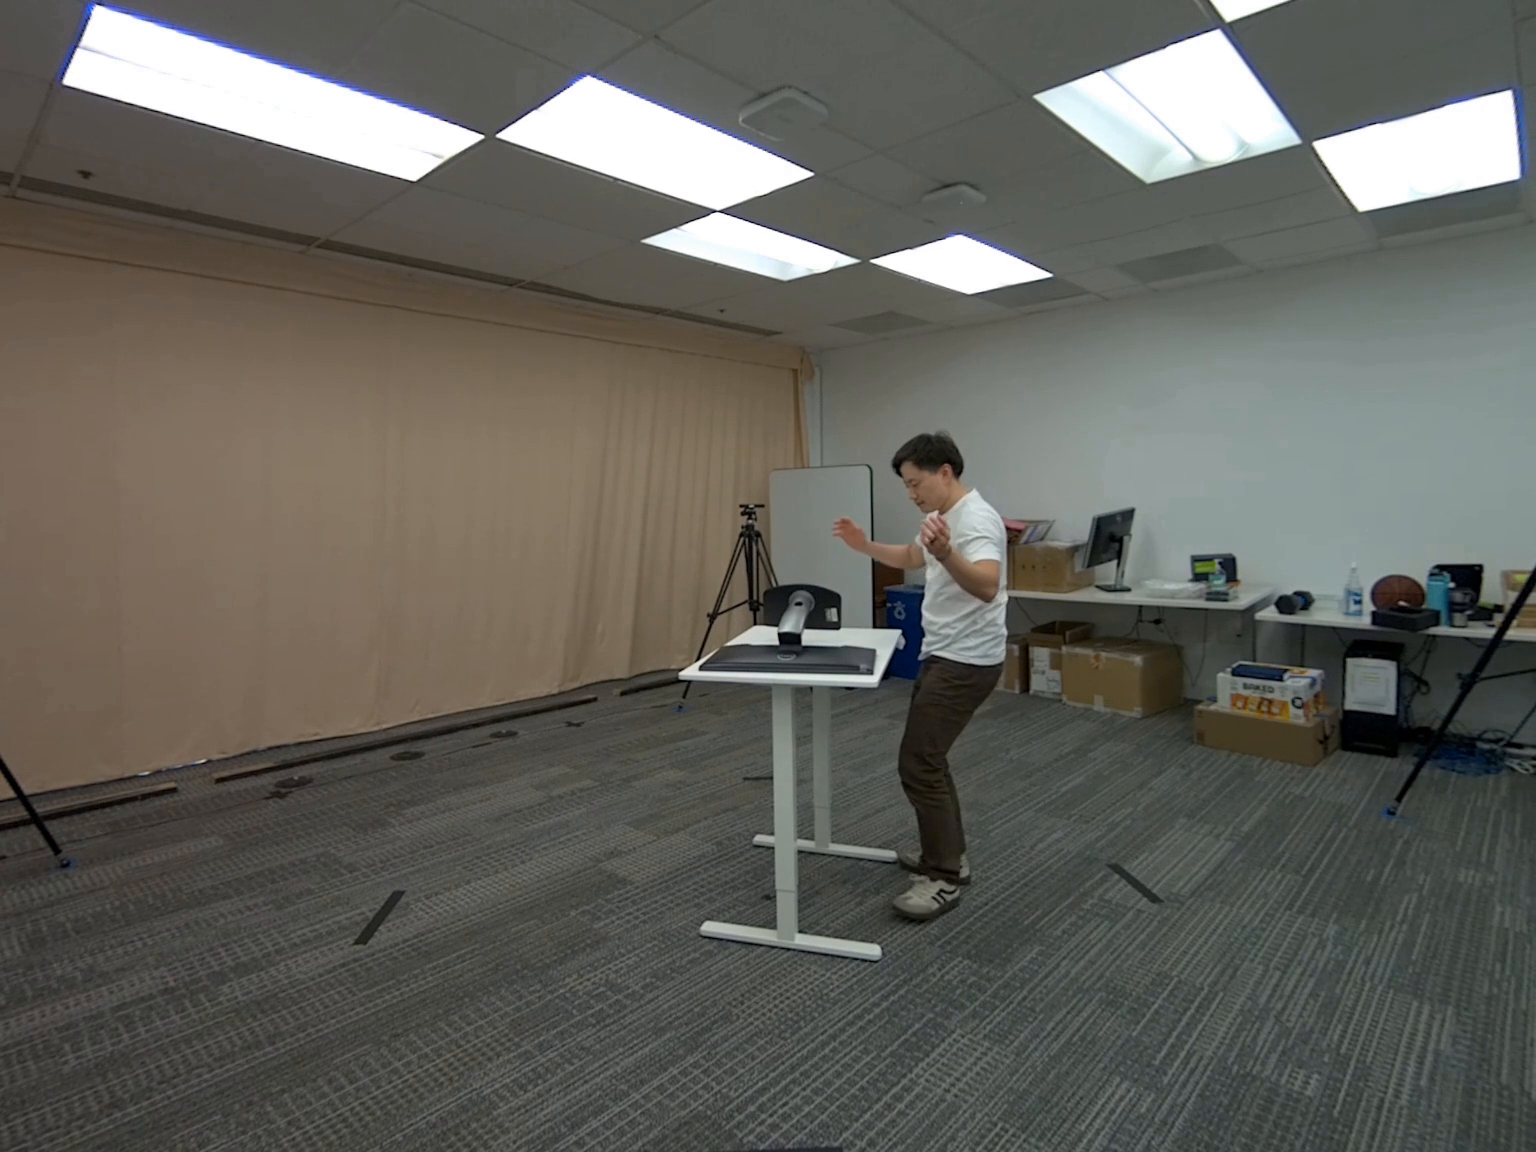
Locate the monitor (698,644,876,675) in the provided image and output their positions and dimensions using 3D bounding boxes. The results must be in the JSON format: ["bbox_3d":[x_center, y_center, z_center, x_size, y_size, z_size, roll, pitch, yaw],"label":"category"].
[{"bbox_3d":[0.096,0.212,2.797,0.546,0.184,0.523,-2,23,12],"label":"monitor"}]
